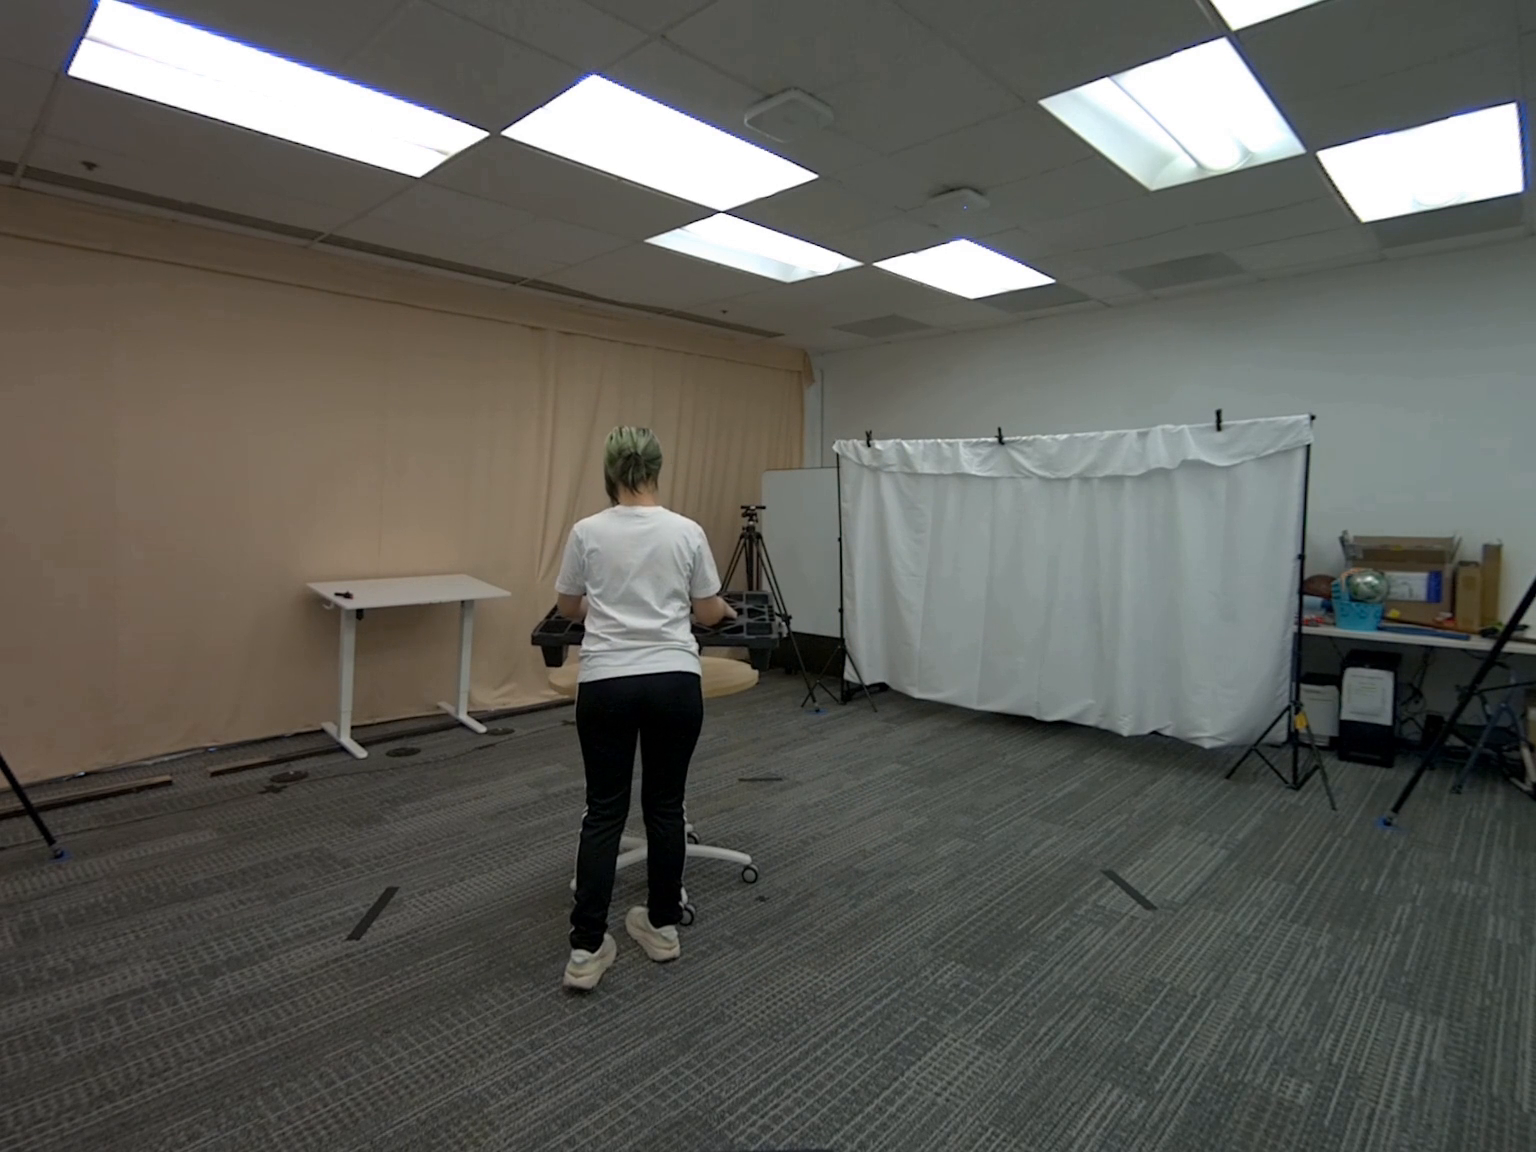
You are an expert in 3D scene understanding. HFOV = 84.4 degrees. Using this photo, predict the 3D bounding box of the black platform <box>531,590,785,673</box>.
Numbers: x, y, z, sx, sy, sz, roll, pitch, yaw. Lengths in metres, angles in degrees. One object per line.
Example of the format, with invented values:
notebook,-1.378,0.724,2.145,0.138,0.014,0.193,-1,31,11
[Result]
black platform,-0.376,0.196,2.977,0.809,0.142,0.607,2,13,3
